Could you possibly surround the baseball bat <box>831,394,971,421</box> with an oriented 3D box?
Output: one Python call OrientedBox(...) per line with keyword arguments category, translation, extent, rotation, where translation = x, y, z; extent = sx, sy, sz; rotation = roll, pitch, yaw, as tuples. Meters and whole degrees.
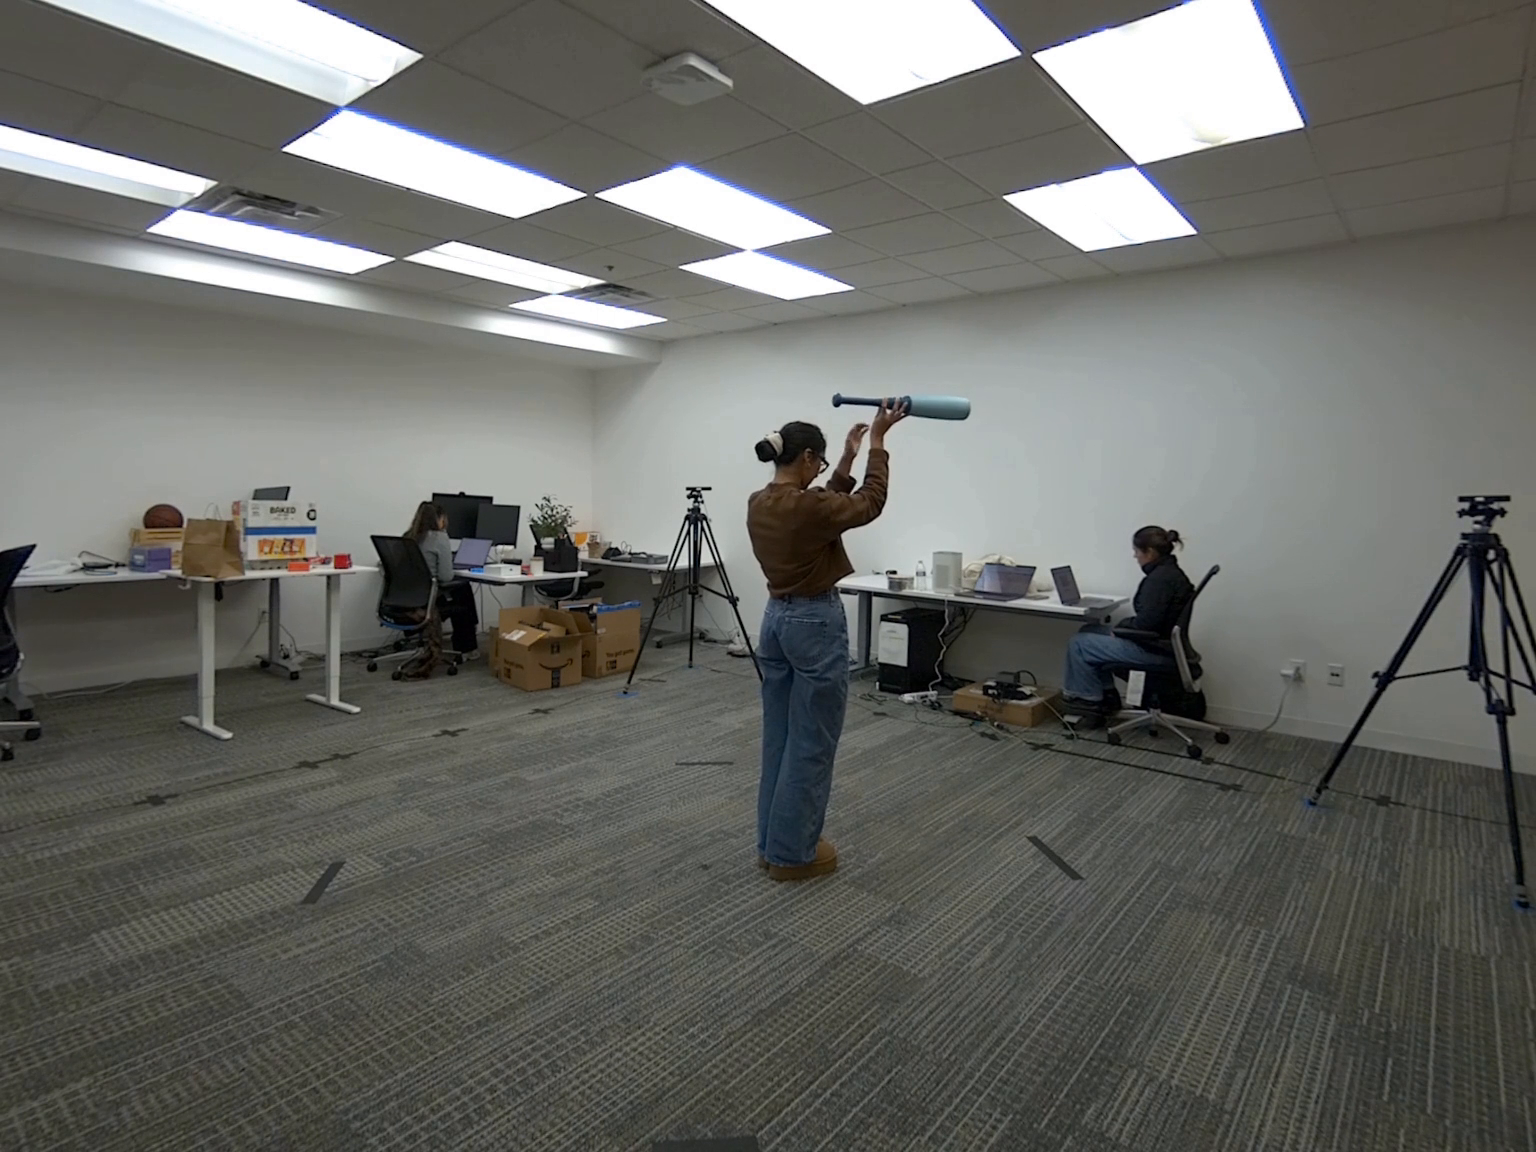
OrientedBox(category="baseball bat", translation=(0.471, -0.626, 3.102), extent=(0.533, 0.089, 0.091), rotation=(1, 4, -17))
